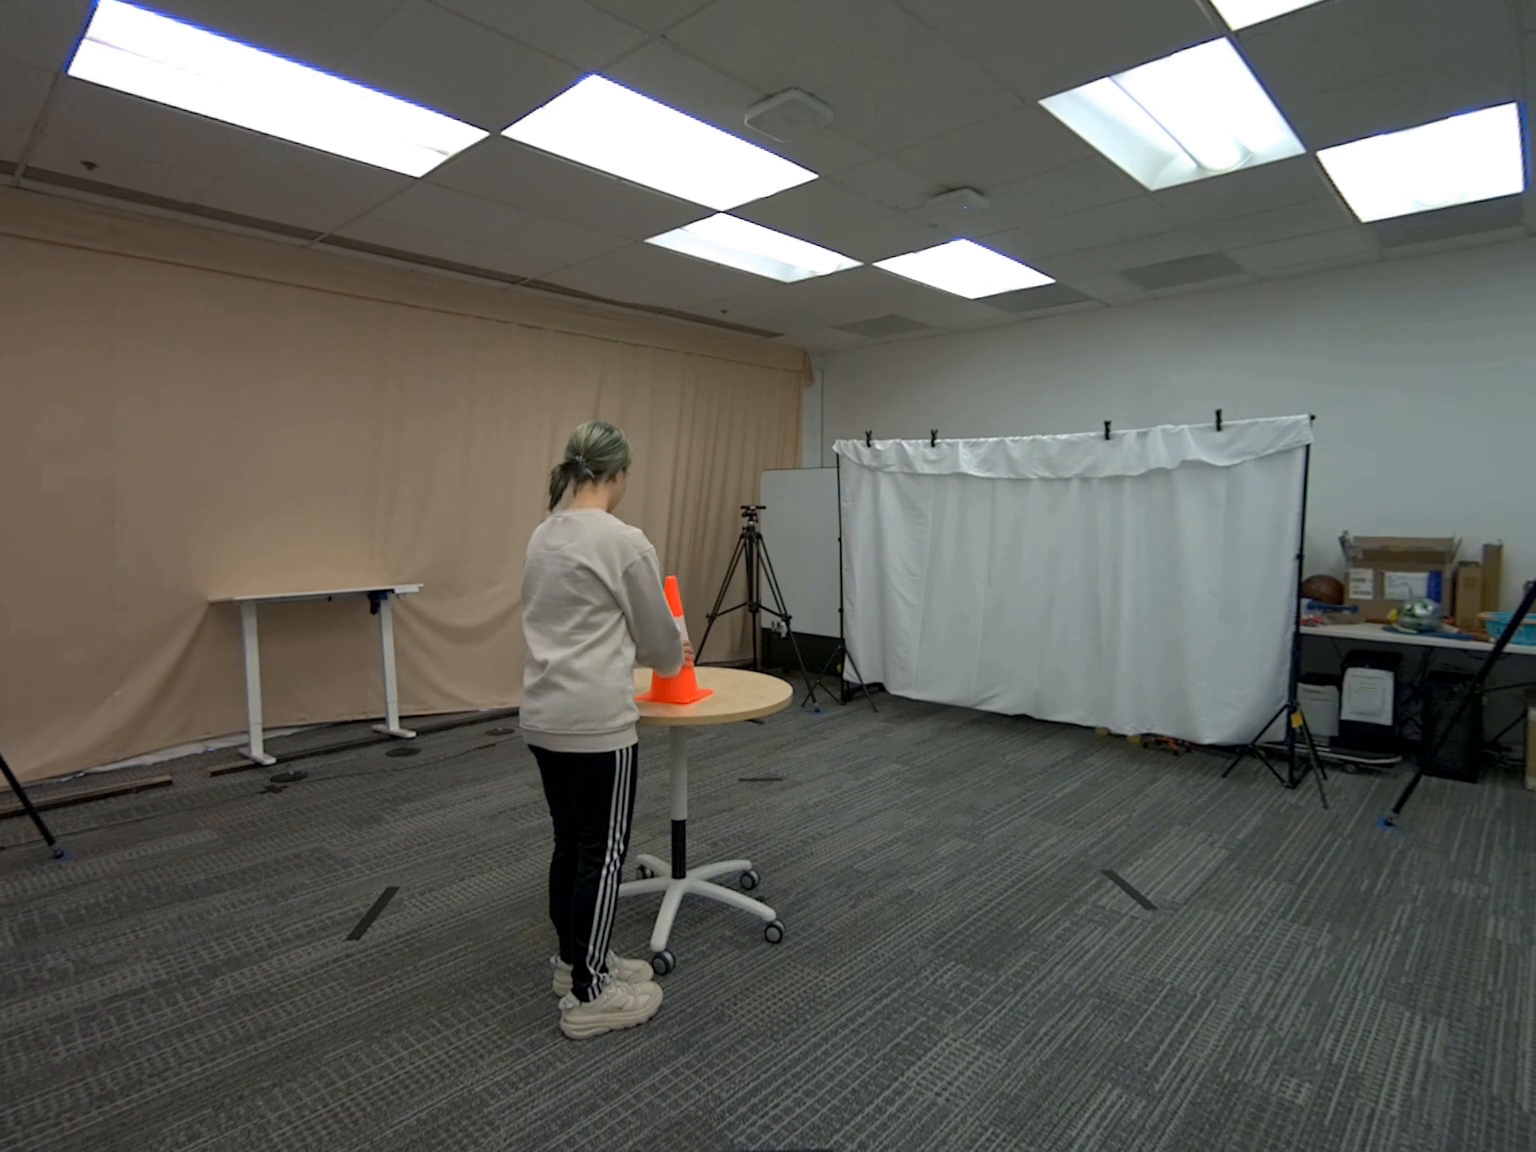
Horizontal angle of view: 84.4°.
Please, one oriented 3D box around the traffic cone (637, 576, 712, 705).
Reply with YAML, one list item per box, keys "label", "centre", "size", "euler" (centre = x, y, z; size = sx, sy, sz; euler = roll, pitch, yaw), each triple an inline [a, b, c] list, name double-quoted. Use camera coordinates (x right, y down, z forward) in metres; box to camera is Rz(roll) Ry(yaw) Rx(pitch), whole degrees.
- label: "traffic cone"
  centre: [-0.302, 0.193, 2.688]
  size: [0.210, 0.383, 0.198]
  euler: [0, 4, 26]
